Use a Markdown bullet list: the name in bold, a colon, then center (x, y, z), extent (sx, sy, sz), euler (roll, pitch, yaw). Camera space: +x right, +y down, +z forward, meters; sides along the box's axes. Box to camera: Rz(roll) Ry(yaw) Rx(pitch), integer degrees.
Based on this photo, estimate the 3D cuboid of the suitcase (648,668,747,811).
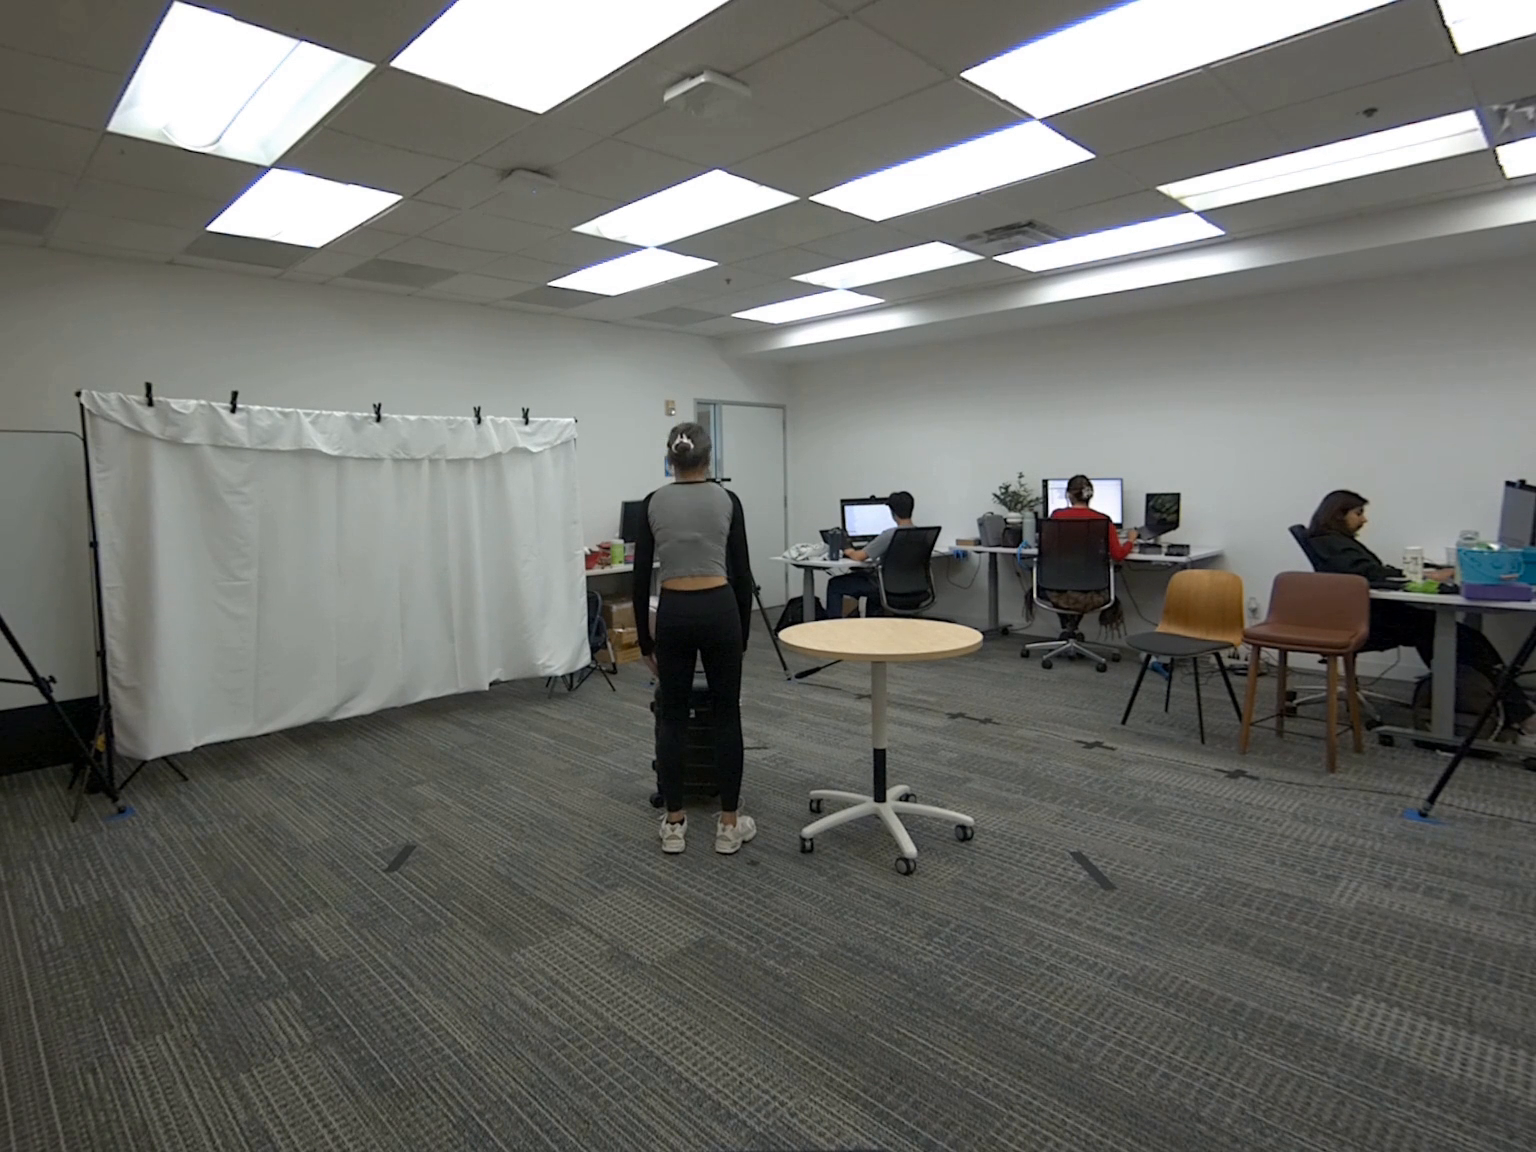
- **suitcase**: center (-0.304, 0.700, 3.734), extent (0.379, 0.548, 0.246), euler (0, 3, 9)
